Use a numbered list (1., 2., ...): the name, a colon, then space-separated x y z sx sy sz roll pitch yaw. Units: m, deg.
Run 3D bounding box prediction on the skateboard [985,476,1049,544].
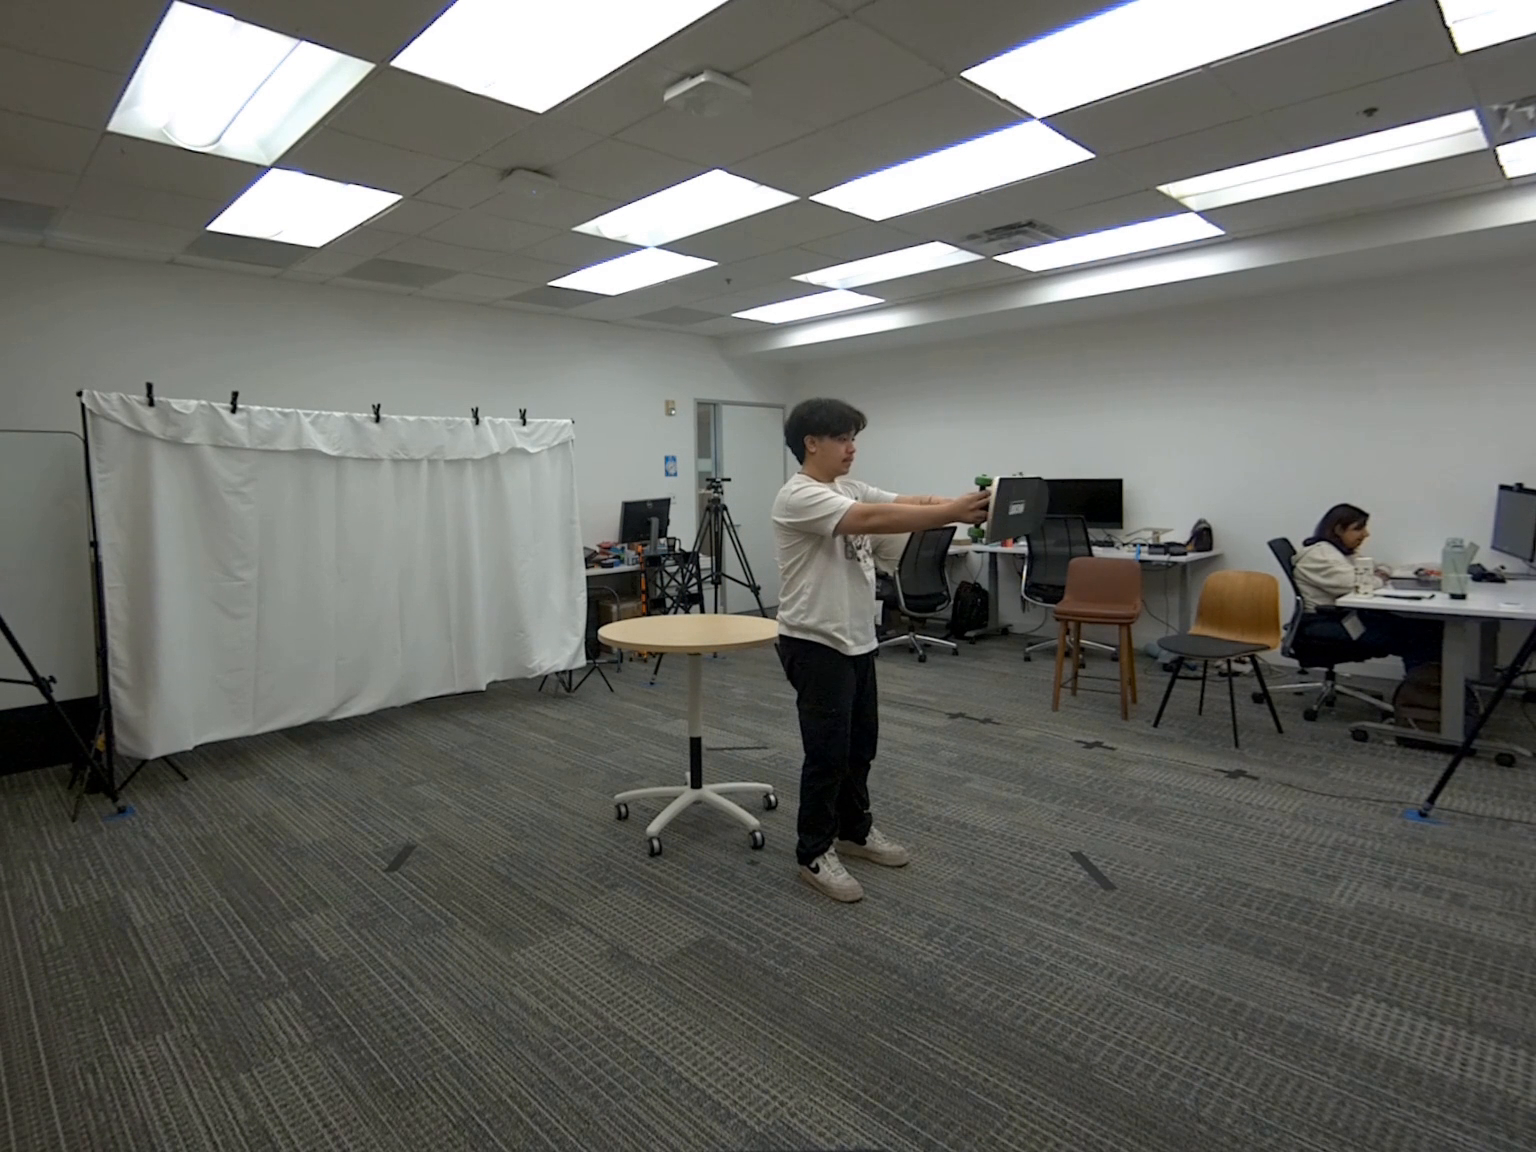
1. skateboard: 0.740 -0.215 2.659 0.113 0.192 0.768 7 8 28
